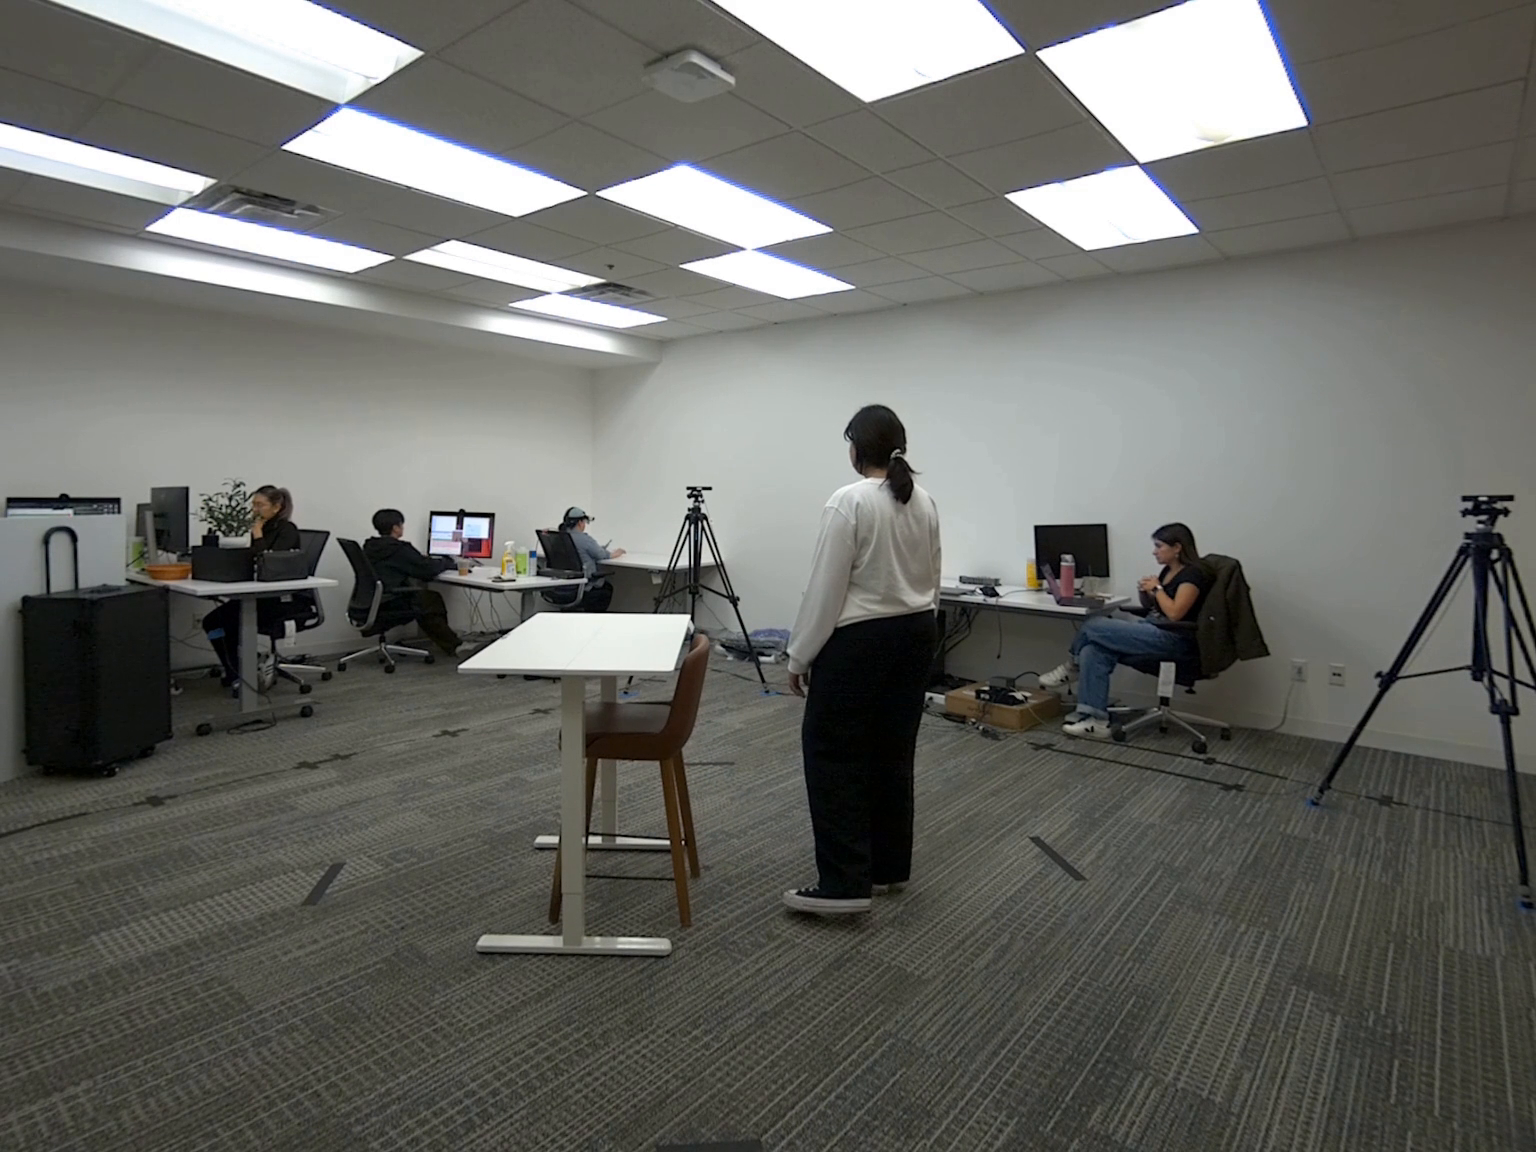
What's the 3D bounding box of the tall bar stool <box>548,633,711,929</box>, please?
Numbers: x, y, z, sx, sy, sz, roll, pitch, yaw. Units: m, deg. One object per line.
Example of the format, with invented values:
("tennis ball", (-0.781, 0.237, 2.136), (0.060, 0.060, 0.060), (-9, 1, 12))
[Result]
("tall bar stool", (-0.455, 0.658, 2.850), (0.469, 0.887, 0.456), (3, 3, 3))
